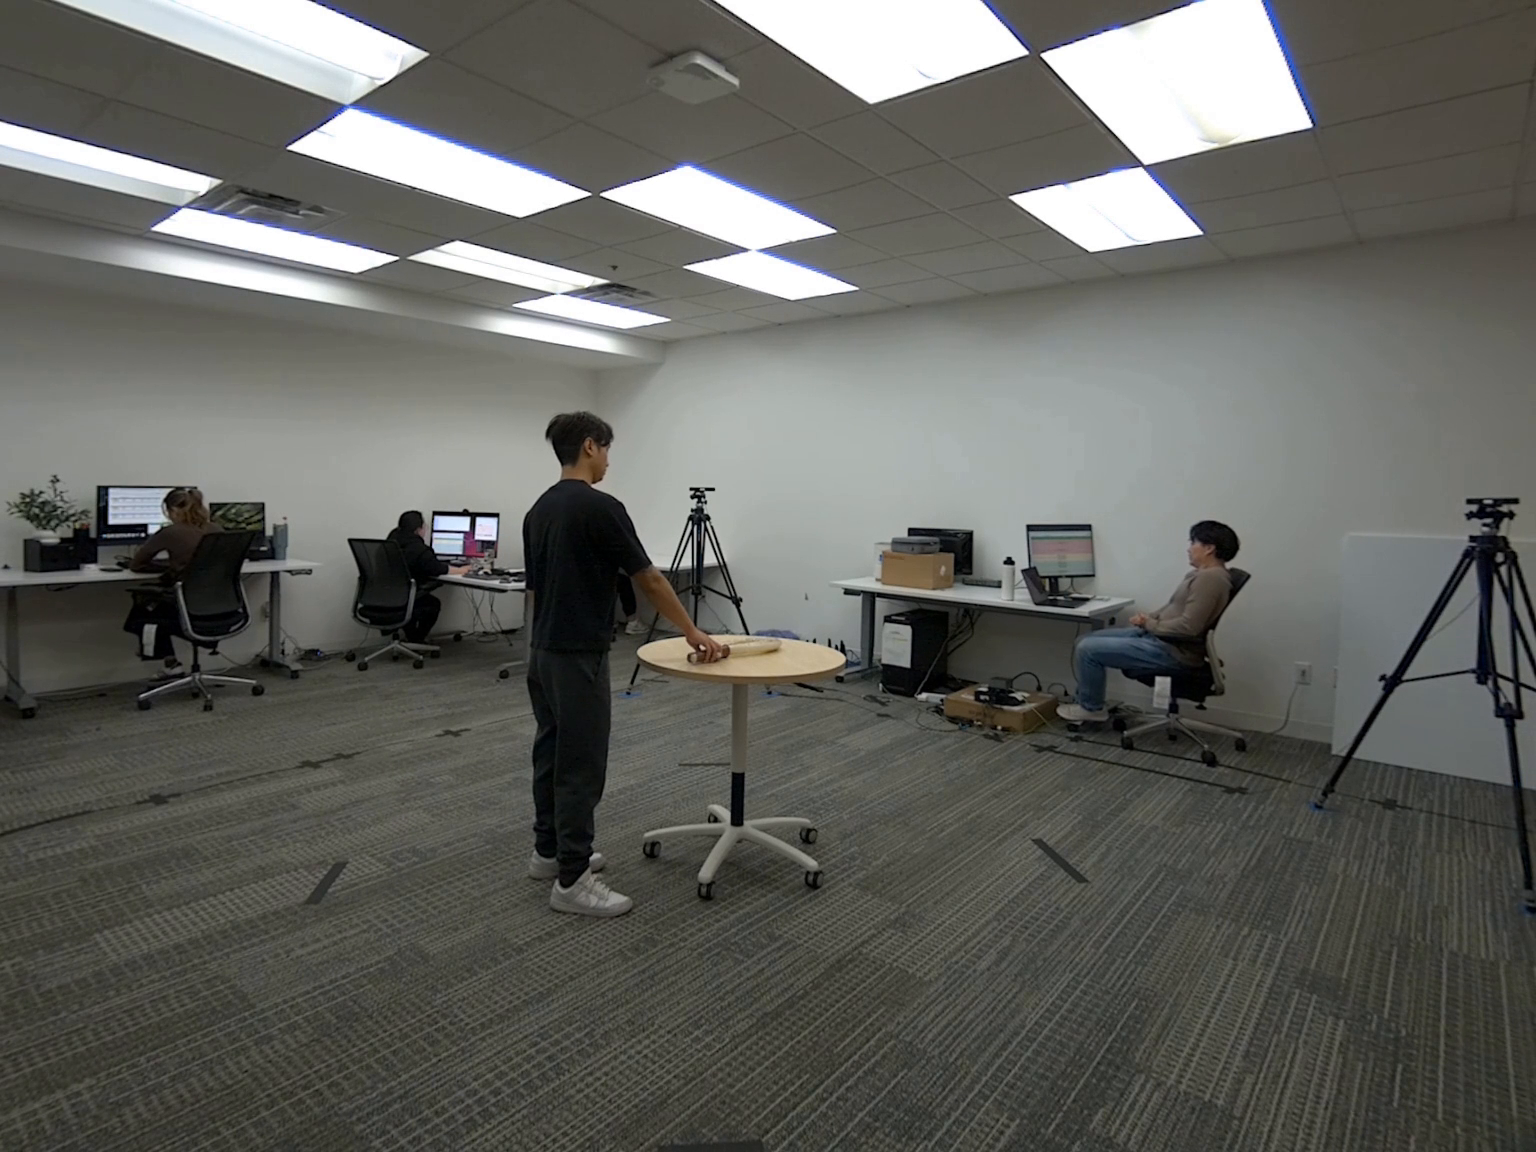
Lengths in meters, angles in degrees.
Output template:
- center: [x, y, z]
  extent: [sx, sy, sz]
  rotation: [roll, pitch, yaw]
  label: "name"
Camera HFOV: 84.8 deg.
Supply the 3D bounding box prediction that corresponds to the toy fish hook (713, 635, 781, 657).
- center: [-0.165, 0.270, 3.127]
  extent: [0.231, 0.048, 0.491]
  rotation: [-2, 0, 41]
  label: "toy fish hook"
